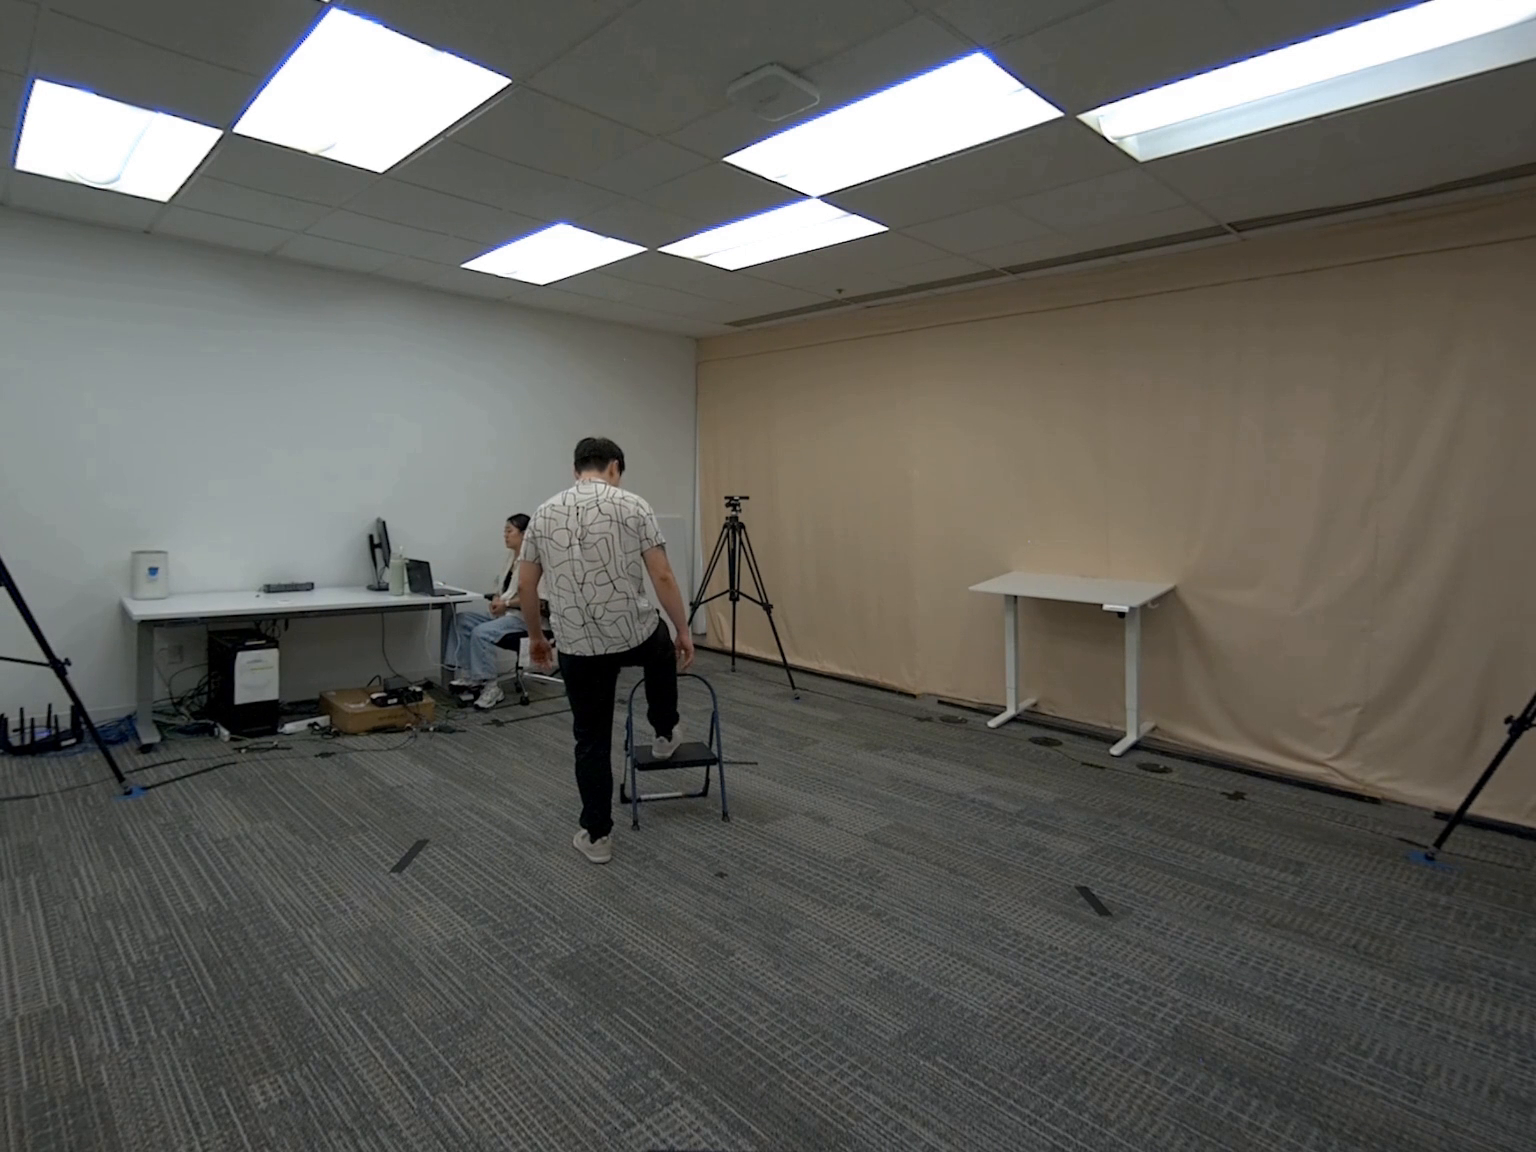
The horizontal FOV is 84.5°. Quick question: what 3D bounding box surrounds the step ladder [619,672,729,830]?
[{"bbox_3d":[-0.420,0.740,3.717,0.424,0.605,0.355,0,3,-20],"label":"step ladder"}]
